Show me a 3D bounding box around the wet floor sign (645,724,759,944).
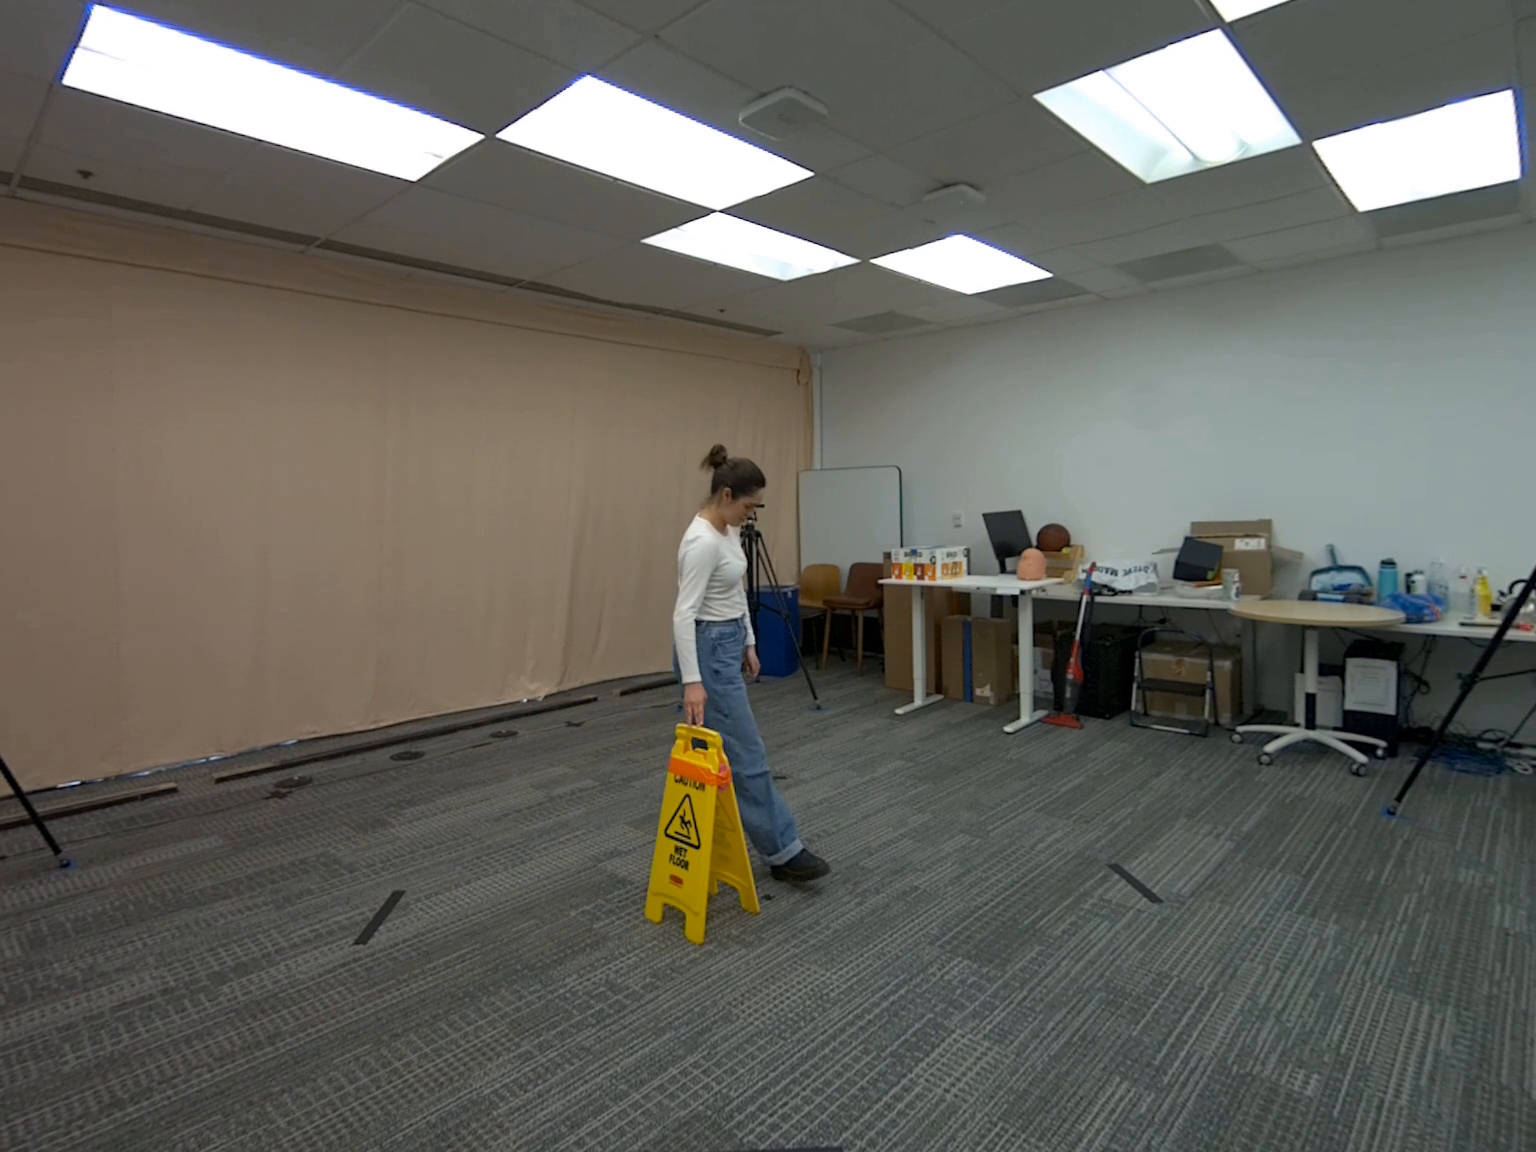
[{"bbox_3d":[-0.229,0.827,2.845,0.291,0.644,0.281,2,5,43],"label":"wet floor sign"}]
